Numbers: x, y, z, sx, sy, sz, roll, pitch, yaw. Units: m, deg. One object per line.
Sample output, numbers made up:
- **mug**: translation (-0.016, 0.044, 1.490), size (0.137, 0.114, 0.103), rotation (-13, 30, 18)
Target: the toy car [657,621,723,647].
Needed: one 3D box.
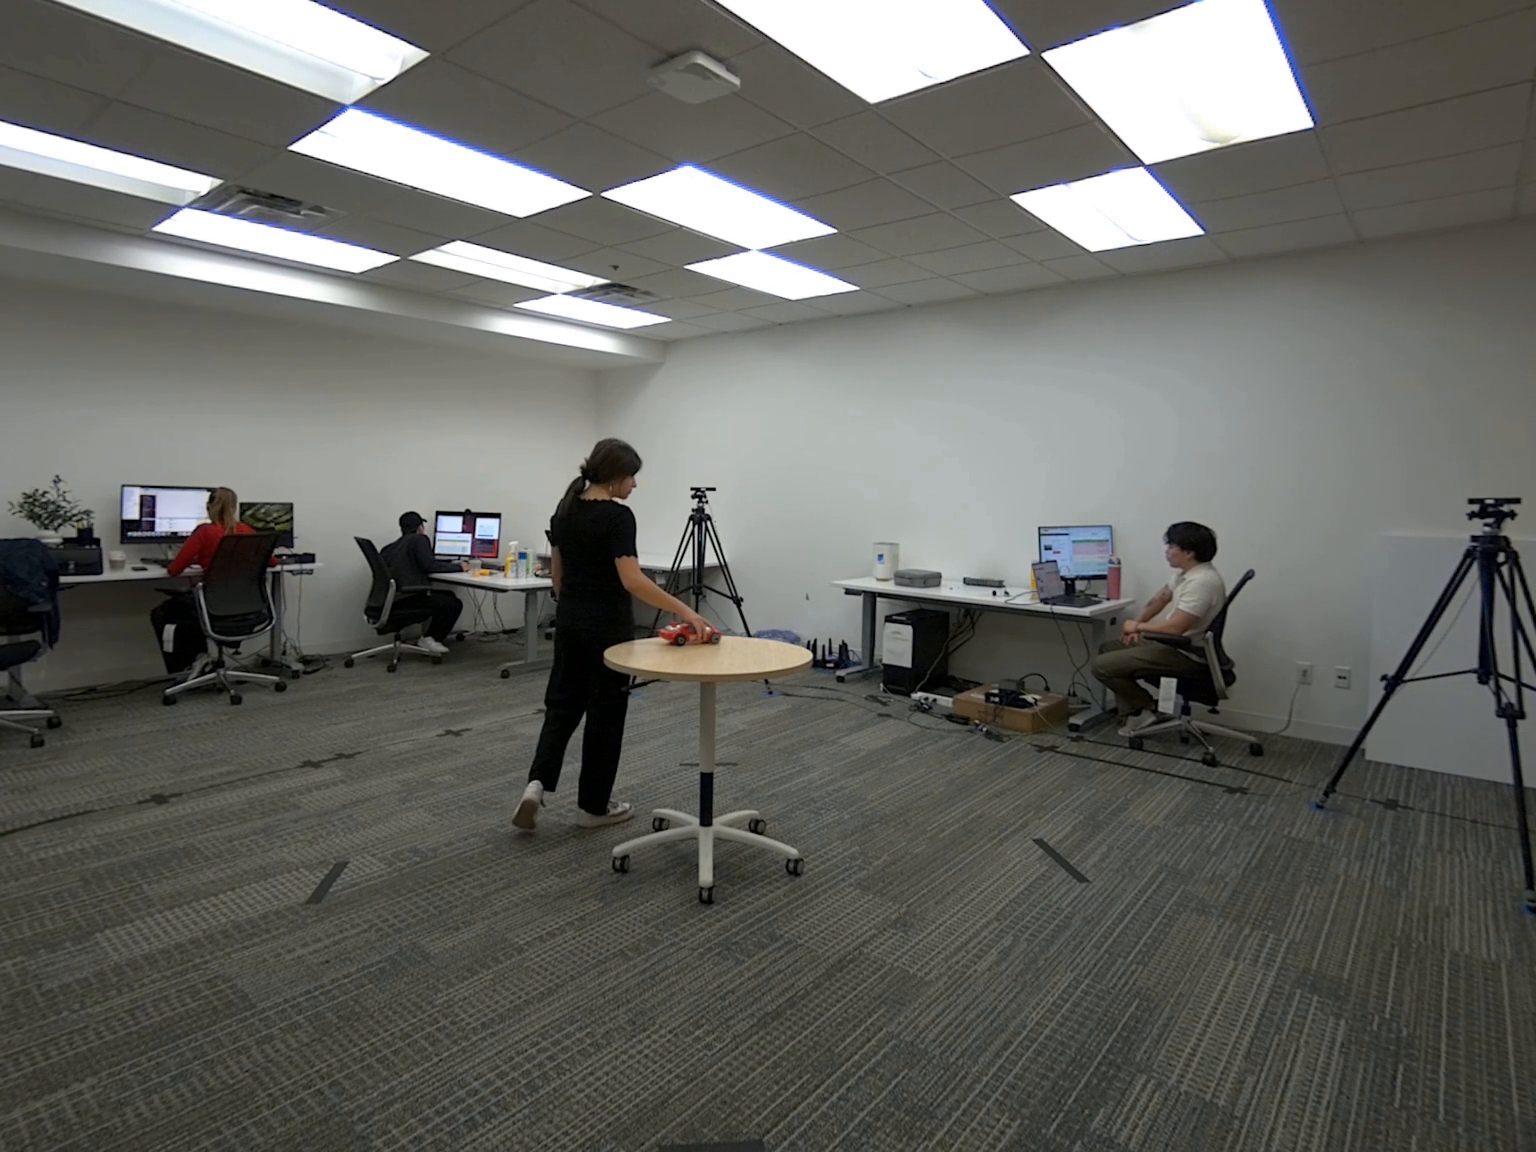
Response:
- **toy car**: translation (-0.330, 0.230, 3.321), size (0.248, 0.083, 0.133), rotation (12, -1, -23)
